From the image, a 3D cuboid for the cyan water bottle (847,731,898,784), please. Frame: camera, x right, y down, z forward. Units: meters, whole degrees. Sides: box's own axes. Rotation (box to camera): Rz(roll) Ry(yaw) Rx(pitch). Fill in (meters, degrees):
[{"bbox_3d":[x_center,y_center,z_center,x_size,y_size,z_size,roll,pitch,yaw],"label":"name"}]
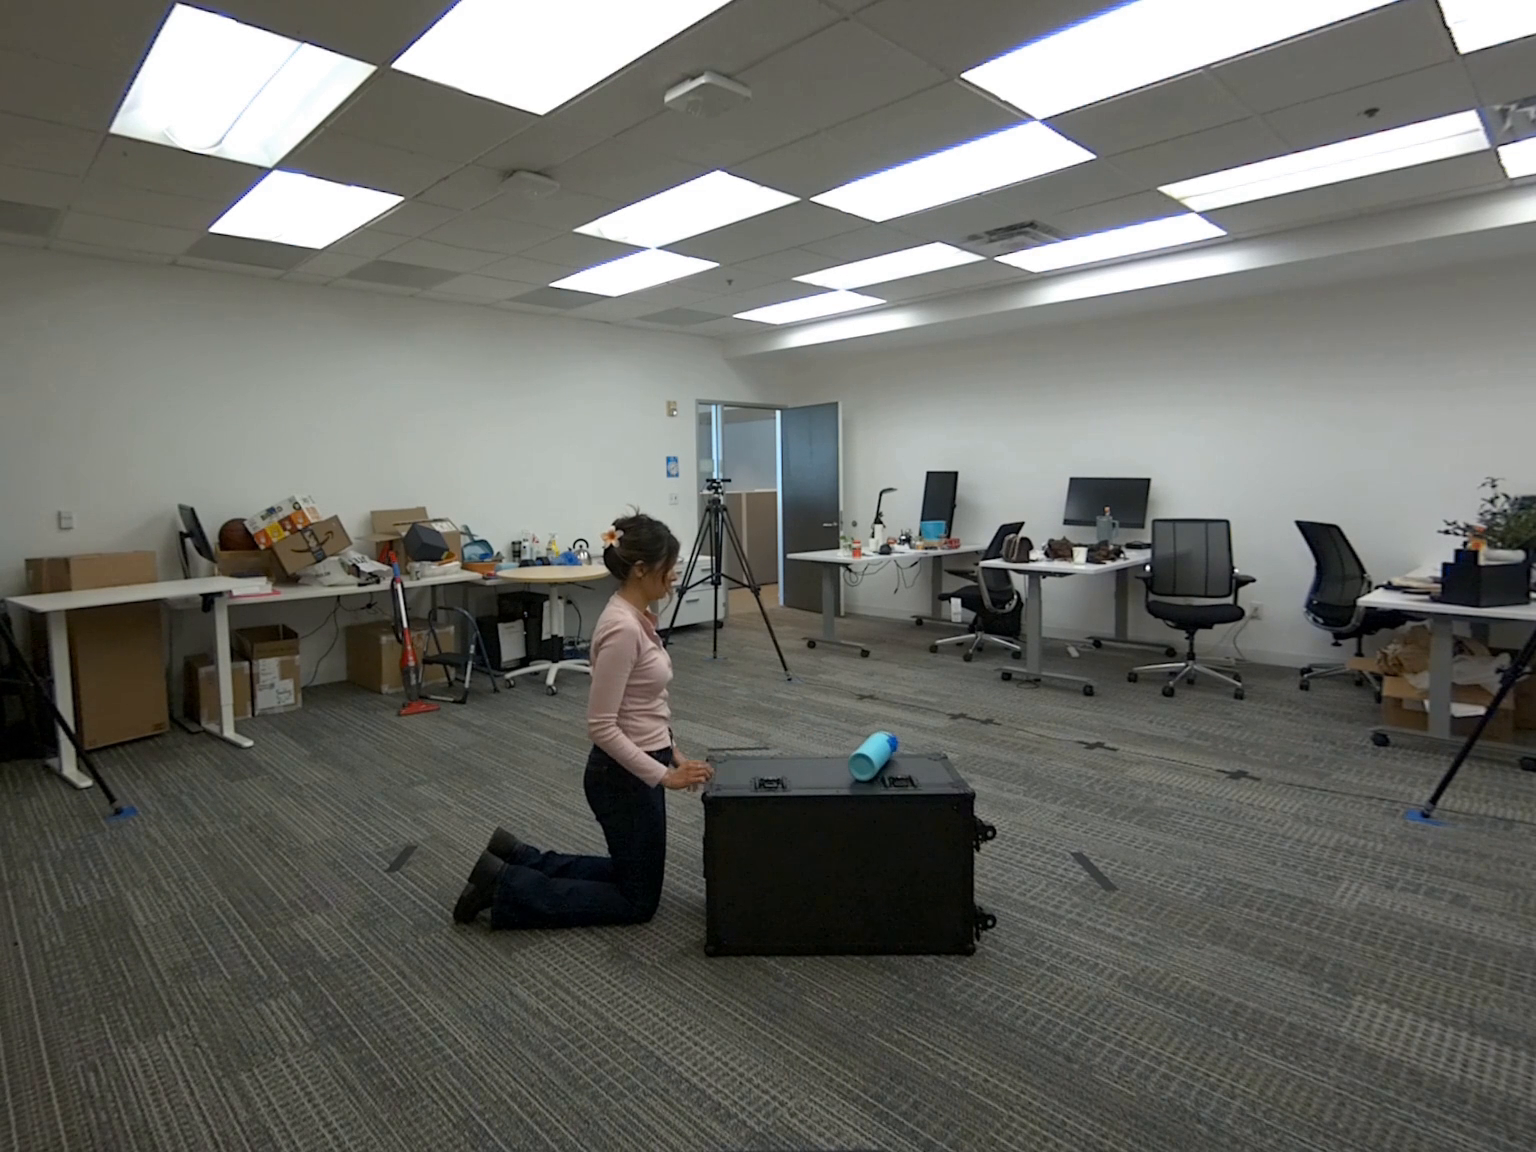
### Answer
[{"bbox_3d":[0.335,0.553,2.685,0.094,0.092,0.278,1,6,24],"label":"cyan water bottle"}]
